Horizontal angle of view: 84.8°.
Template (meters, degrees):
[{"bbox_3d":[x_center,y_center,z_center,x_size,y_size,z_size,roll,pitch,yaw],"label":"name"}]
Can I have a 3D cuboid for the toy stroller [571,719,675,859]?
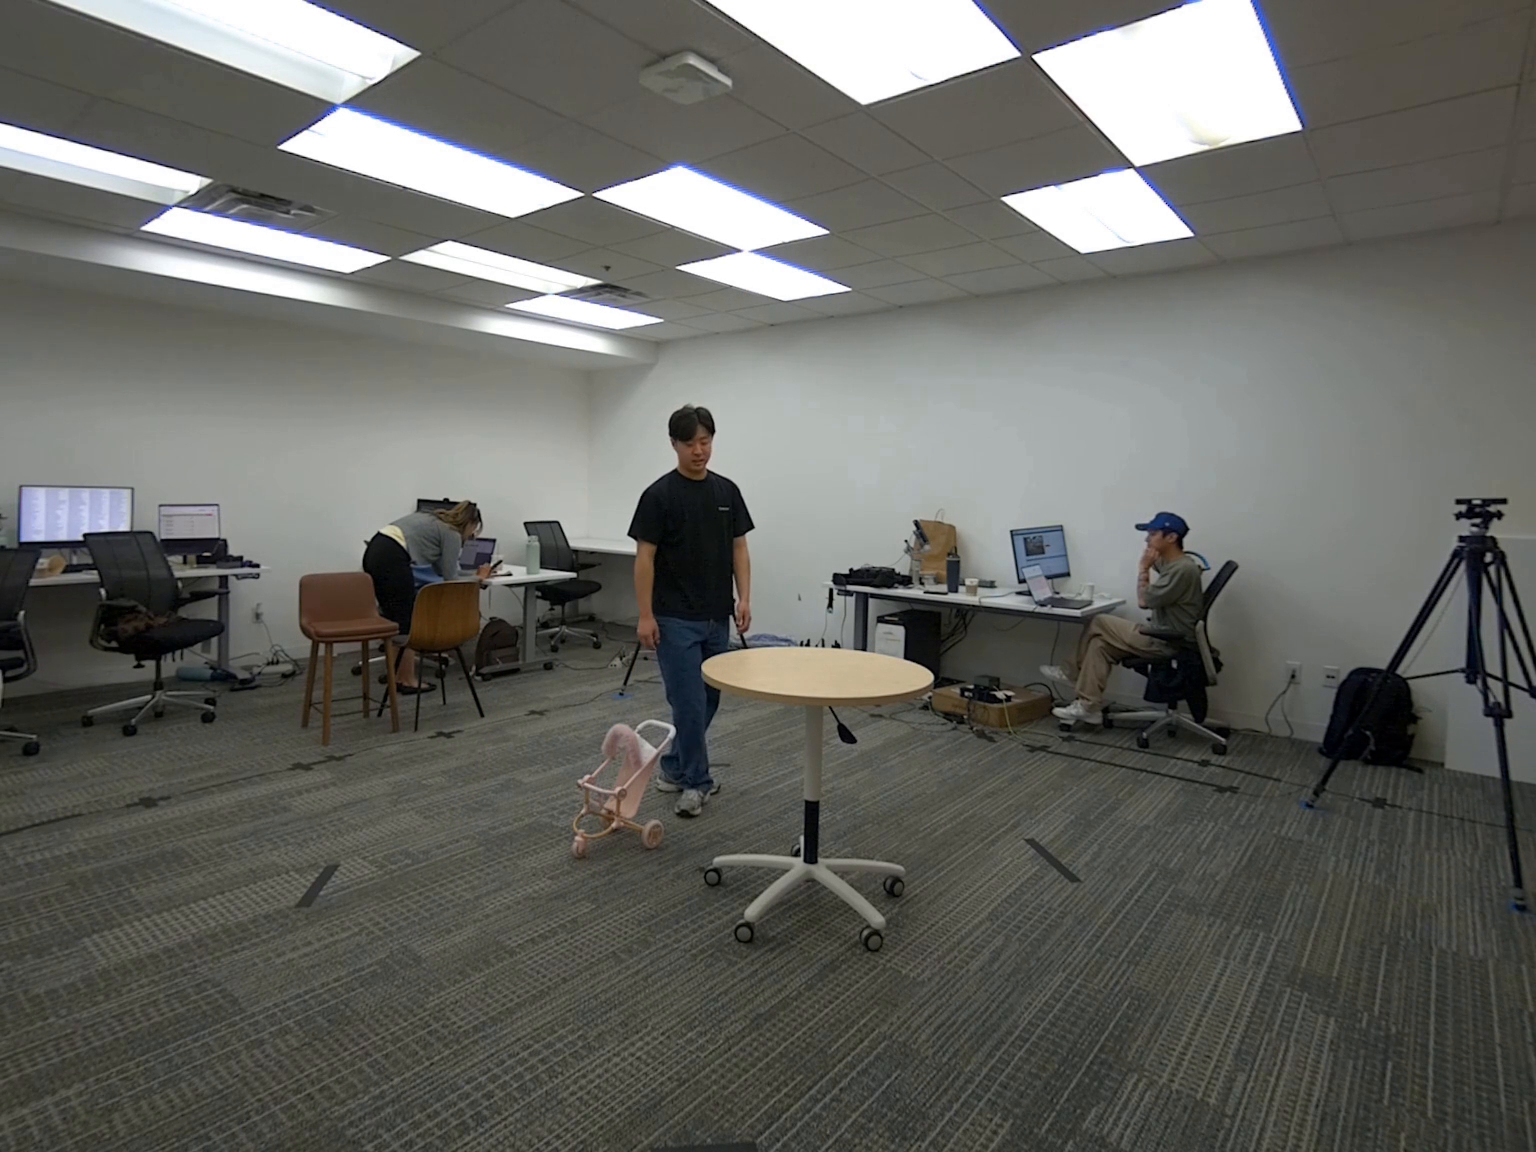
[{"bbox_3d":[-0.594,0.817,3.317,0.291,0.538,0.328,4,-11,46],"label":"toy stroller"}]
